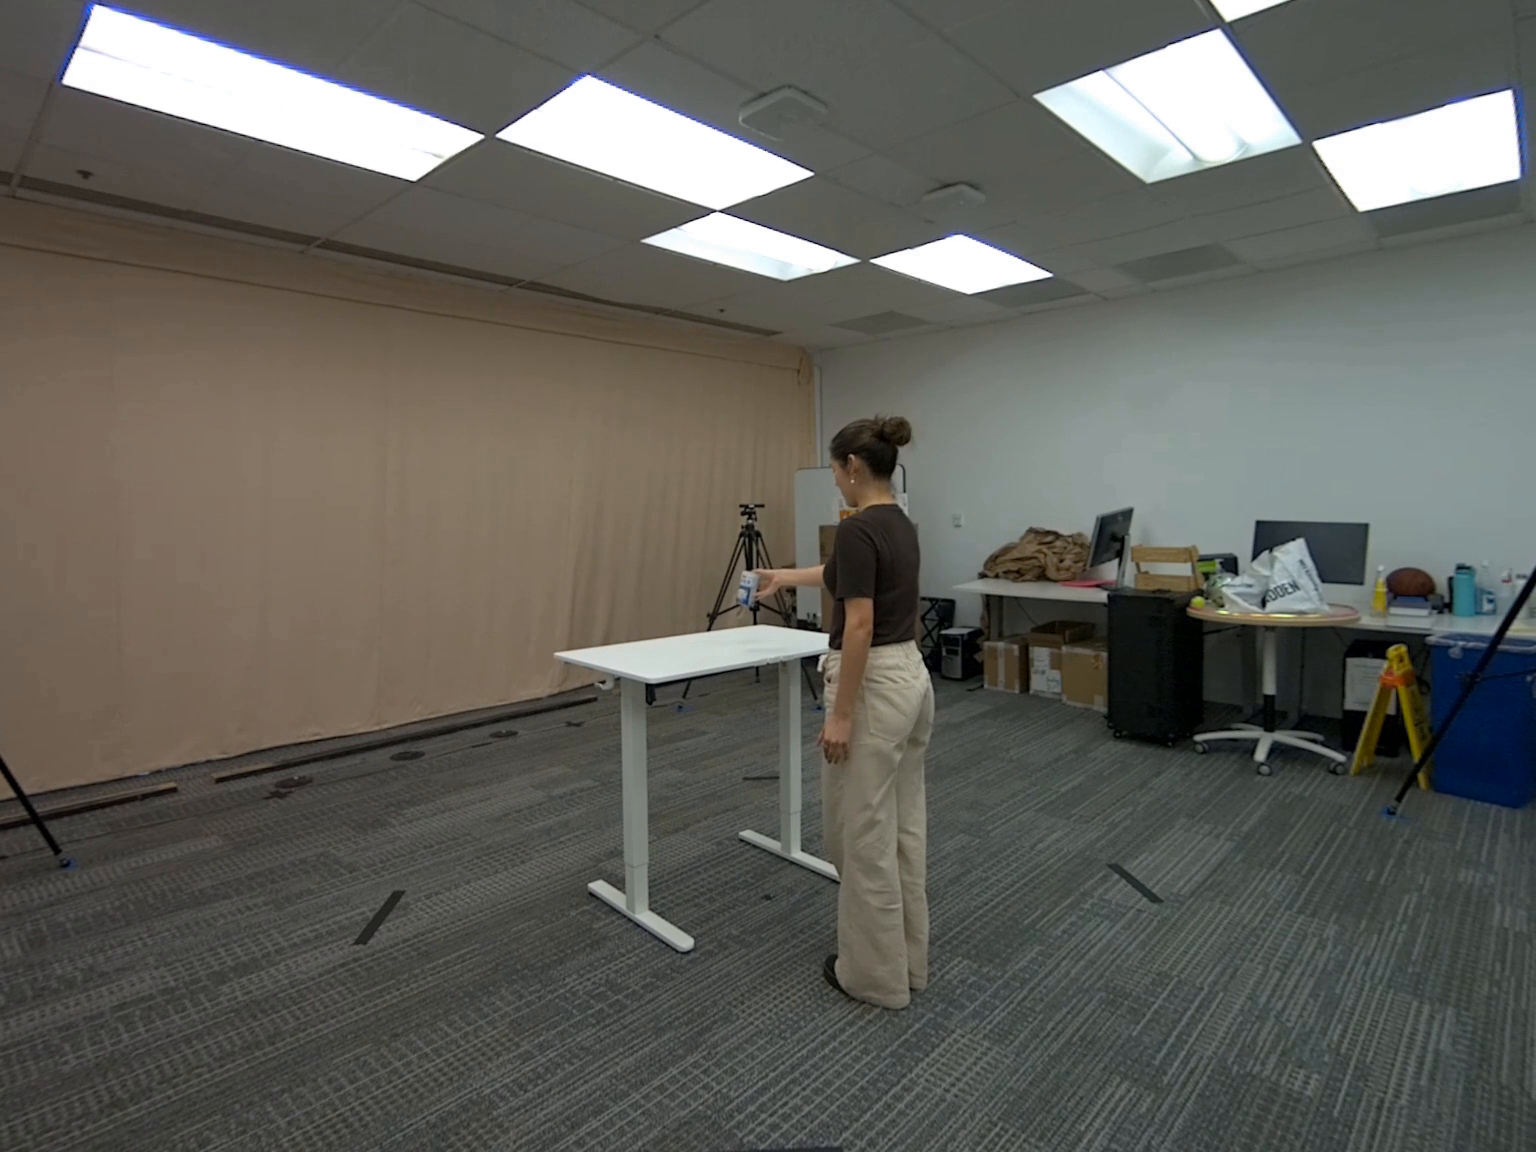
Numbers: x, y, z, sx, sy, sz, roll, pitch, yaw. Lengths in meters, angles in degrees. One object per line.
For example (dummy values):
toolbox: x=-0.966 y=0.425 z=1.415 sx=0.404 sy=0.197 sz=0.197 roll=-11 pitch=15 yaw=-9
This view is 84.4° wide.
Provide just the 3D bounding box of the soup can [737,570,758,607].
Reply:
soup can: x=-0.057 y=0.043 z=2.973 sx=0.067 sy=0.121 sz=0.067 roll=6 pitch=1 yaw=-2
